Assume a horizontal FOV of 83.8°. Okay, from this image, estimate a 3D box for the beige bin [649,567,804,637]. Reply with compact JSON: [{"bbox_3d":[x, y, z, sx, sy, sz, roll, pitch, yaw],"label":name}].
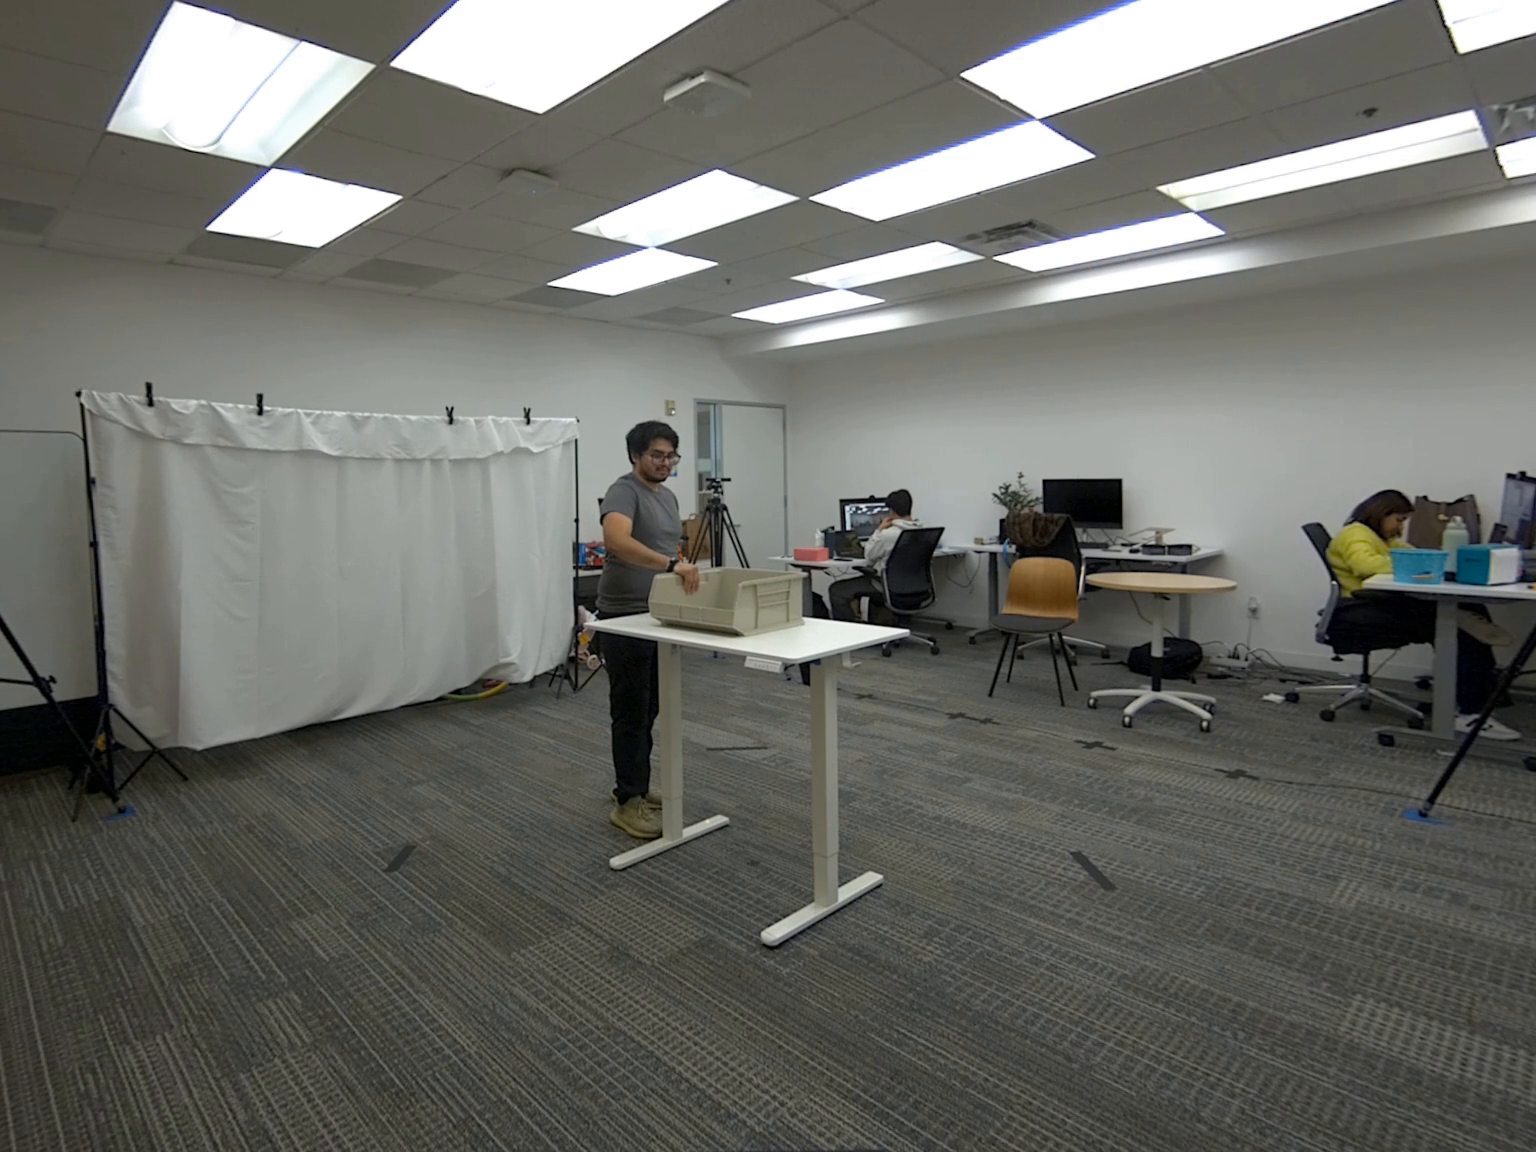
[{"bbox_3d":[-0.140,0.083,2.991,0.435,0.188,0.367,4,5,43],"label":"beige bin"}]
